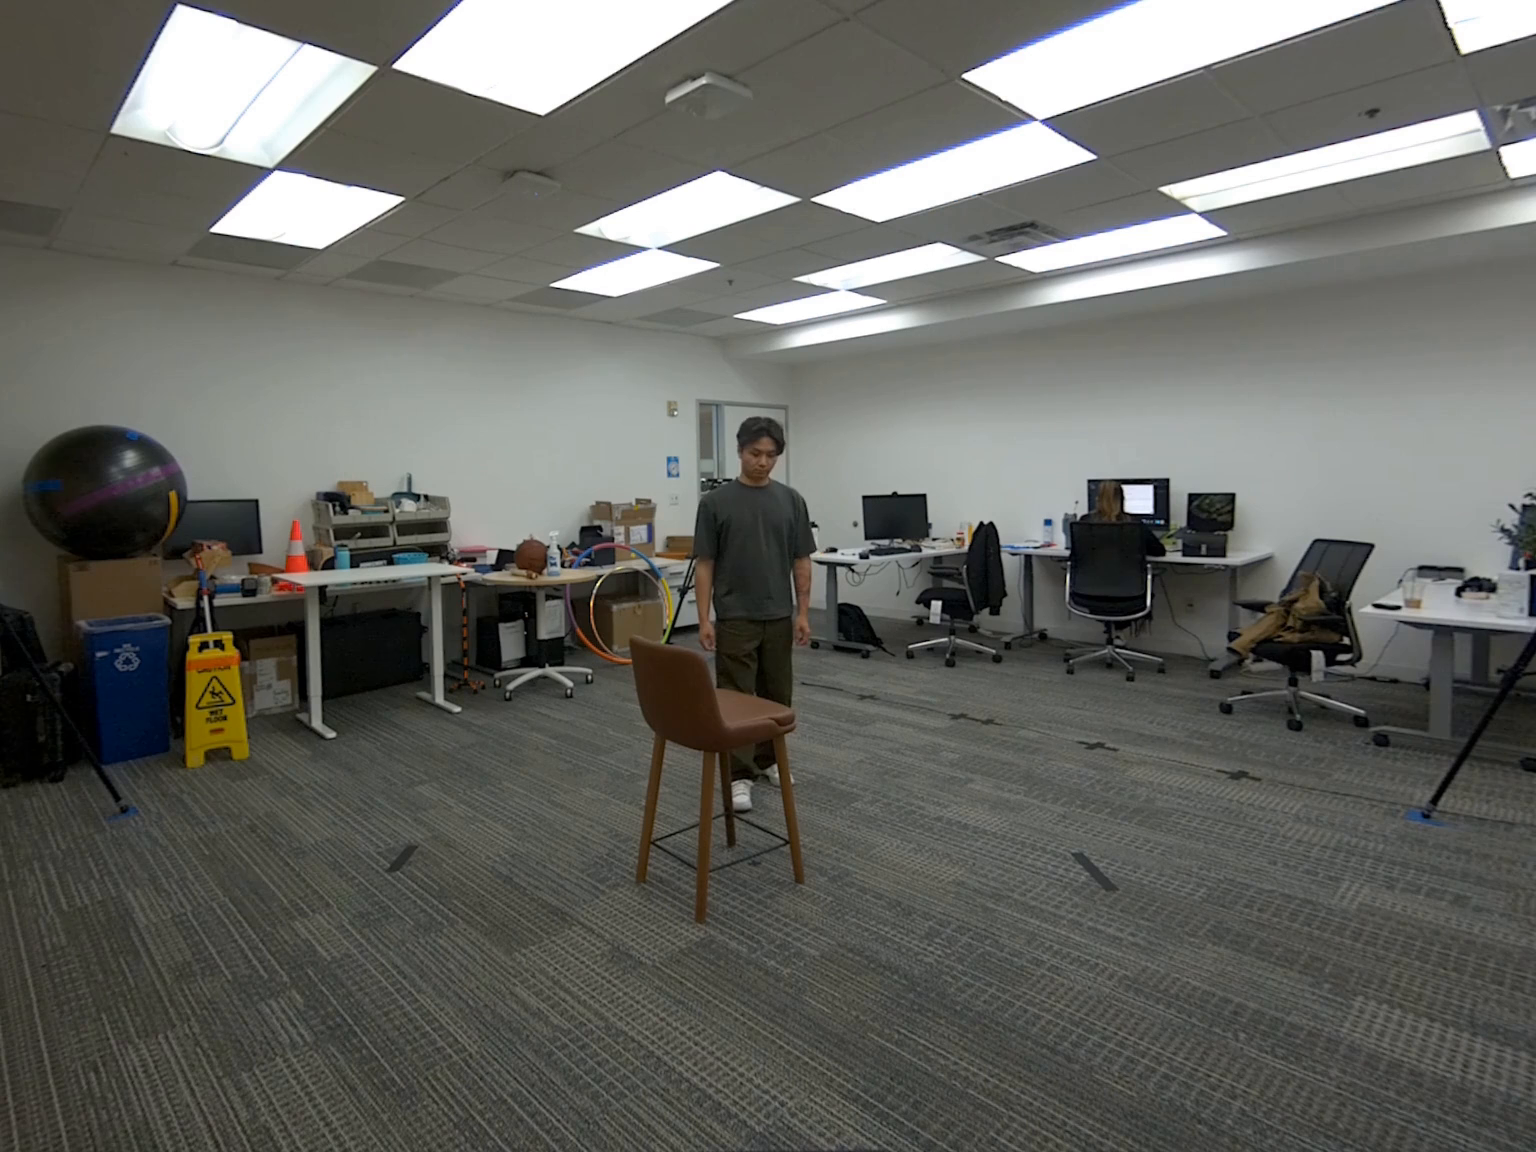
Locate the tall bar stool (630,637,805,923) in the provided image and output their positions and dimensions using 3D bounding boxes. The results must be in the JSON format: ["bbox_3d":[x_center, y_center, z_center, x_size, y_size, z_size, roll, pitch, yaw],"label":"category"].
[{"bbox_3d":[-0.184,0.632,2.942,0.456,0.885,0.470,-7,7,-40],"label":"tall bar stool"}]
